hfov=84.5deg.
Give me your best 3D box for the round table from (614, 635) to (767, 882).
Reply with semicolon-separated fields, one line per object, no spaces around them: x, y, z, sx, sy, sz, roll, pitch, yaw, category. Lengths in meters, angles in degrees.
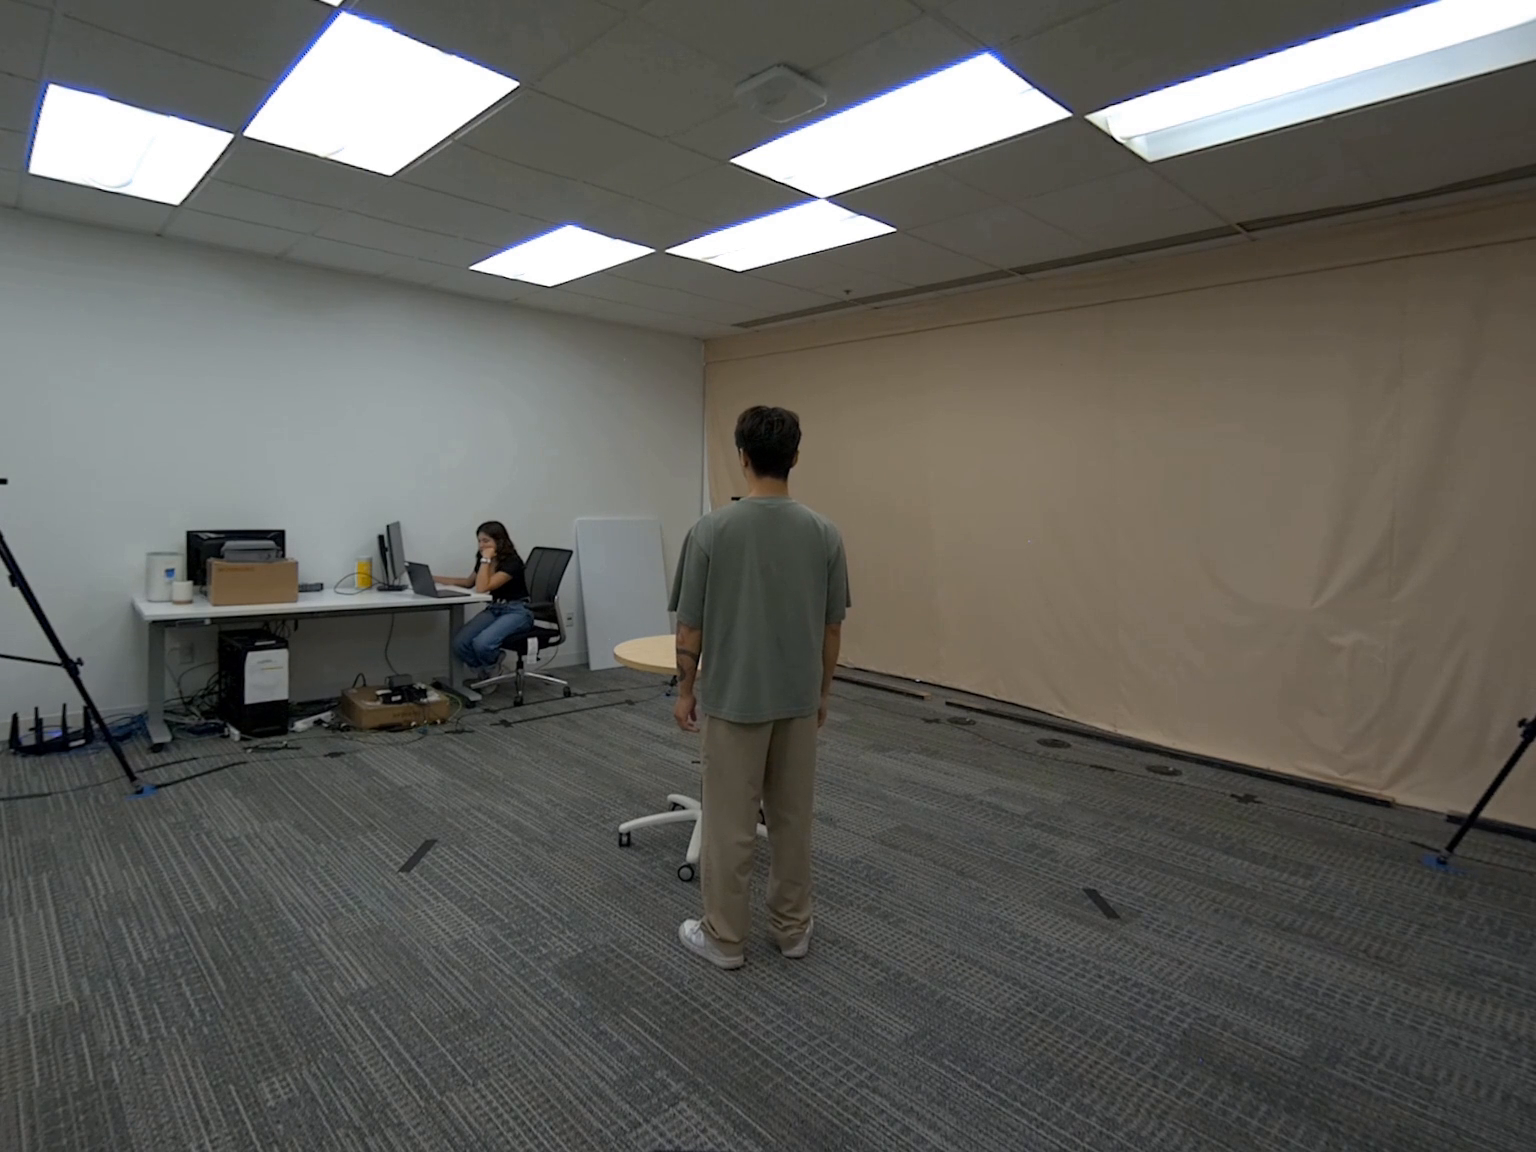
-0.244;0.689;3.392;0.784;0.784;0.788;2;5;-2;round table
